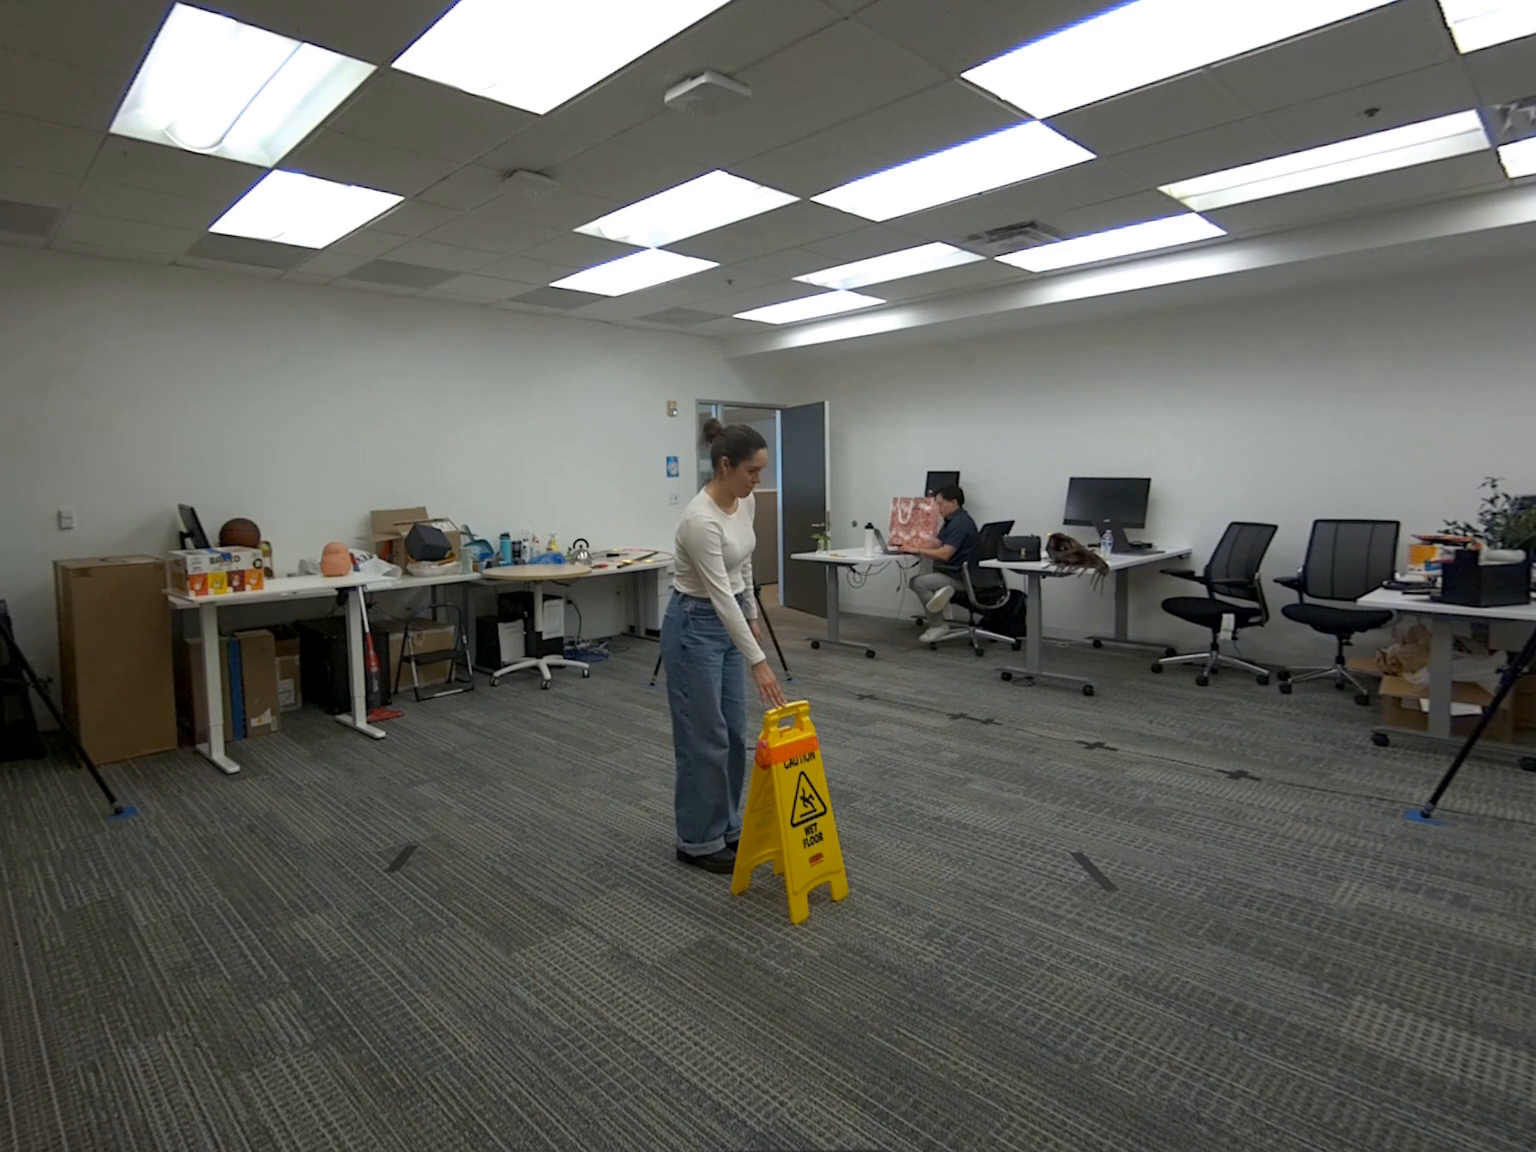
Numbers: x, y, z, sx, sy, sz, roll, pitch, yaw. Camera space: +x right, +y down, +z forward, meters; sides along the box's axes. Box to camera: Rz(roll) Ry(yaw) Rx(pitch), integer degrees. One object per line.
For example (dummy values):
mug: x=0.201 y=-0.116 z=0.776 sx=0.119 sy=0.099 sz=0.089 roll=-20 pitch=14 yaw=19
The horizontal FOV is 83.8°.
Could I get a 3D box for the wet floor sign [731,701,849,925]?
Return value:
wet floor sign: x=0.072 y=0.746 z=2.847 sx=0.275 sy=0.643 sz=0.299 roll=-5 pitch=6 yaw=-45
